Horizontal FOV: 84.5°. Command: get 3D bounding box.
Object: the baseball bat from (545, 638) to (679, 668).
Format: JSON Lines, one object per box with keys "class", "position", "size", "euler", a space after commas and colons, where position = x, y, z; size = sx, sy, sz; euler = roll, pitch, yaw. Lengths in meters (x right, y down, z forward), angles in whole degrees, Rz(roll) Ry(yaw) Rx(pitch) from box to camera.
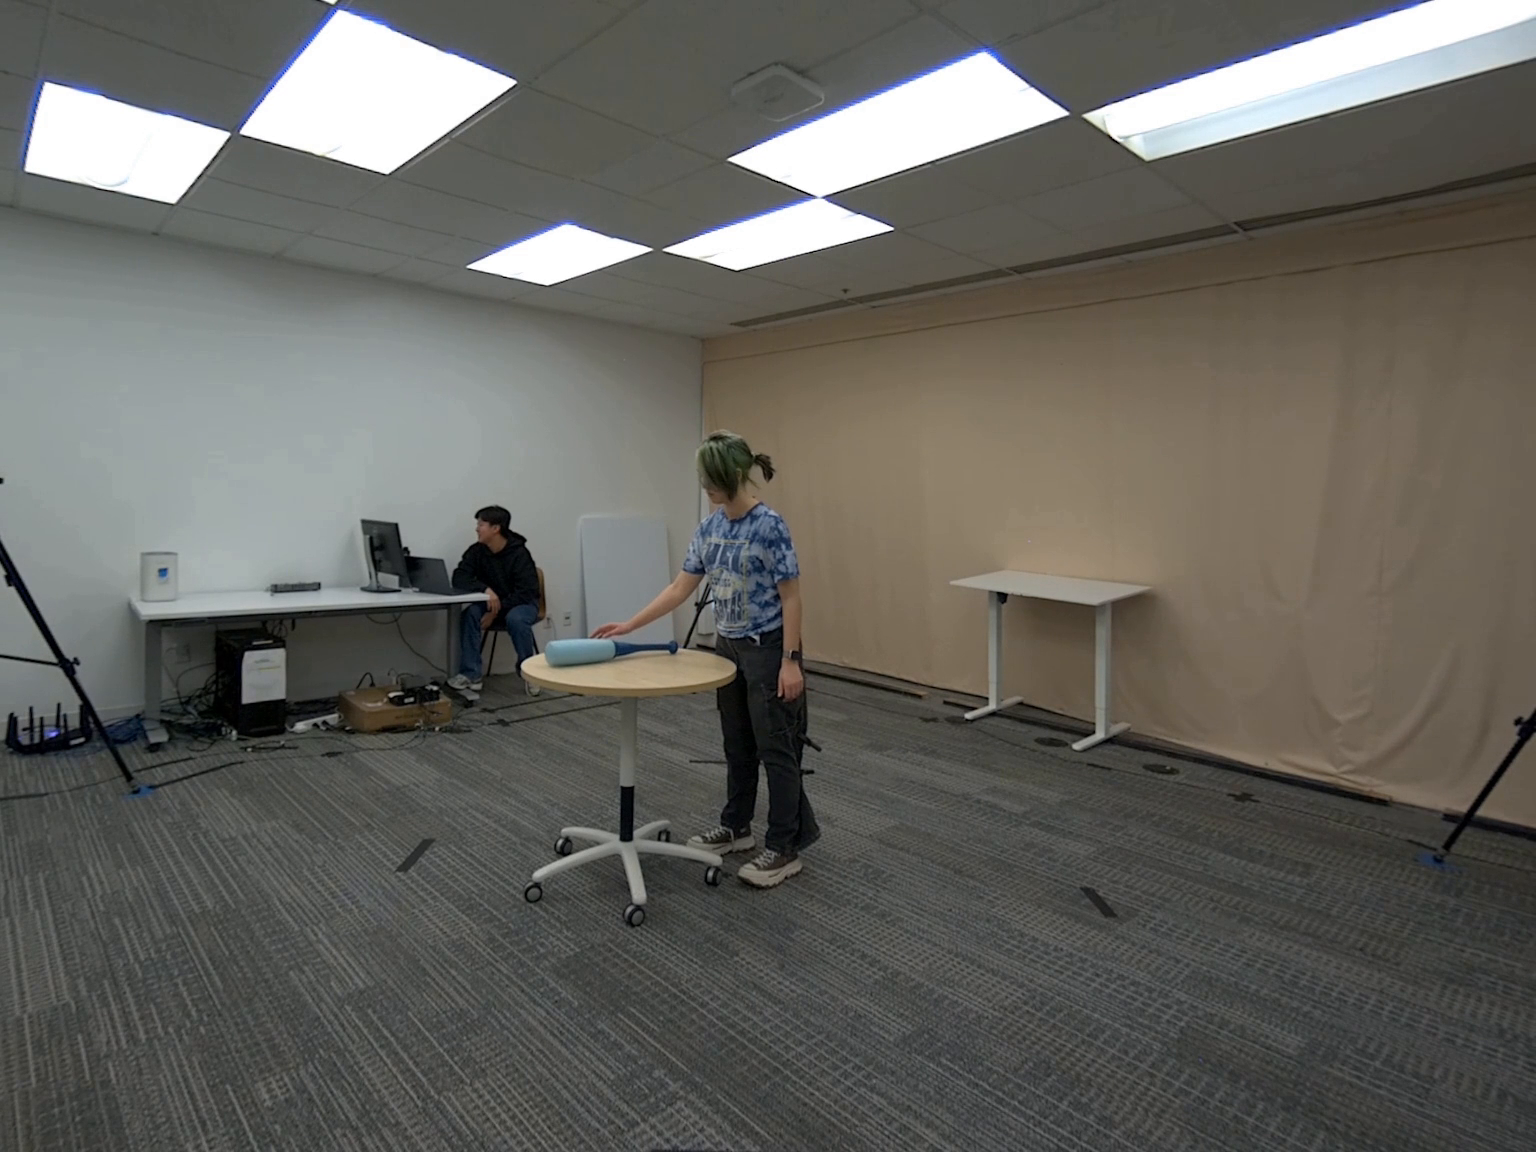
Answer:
{"class": "baseball bat", "position": [-0.573, 0.277, 3.099], "size": [0.530, 0.089, 0.091], "euler": [2, 3, -42]}
